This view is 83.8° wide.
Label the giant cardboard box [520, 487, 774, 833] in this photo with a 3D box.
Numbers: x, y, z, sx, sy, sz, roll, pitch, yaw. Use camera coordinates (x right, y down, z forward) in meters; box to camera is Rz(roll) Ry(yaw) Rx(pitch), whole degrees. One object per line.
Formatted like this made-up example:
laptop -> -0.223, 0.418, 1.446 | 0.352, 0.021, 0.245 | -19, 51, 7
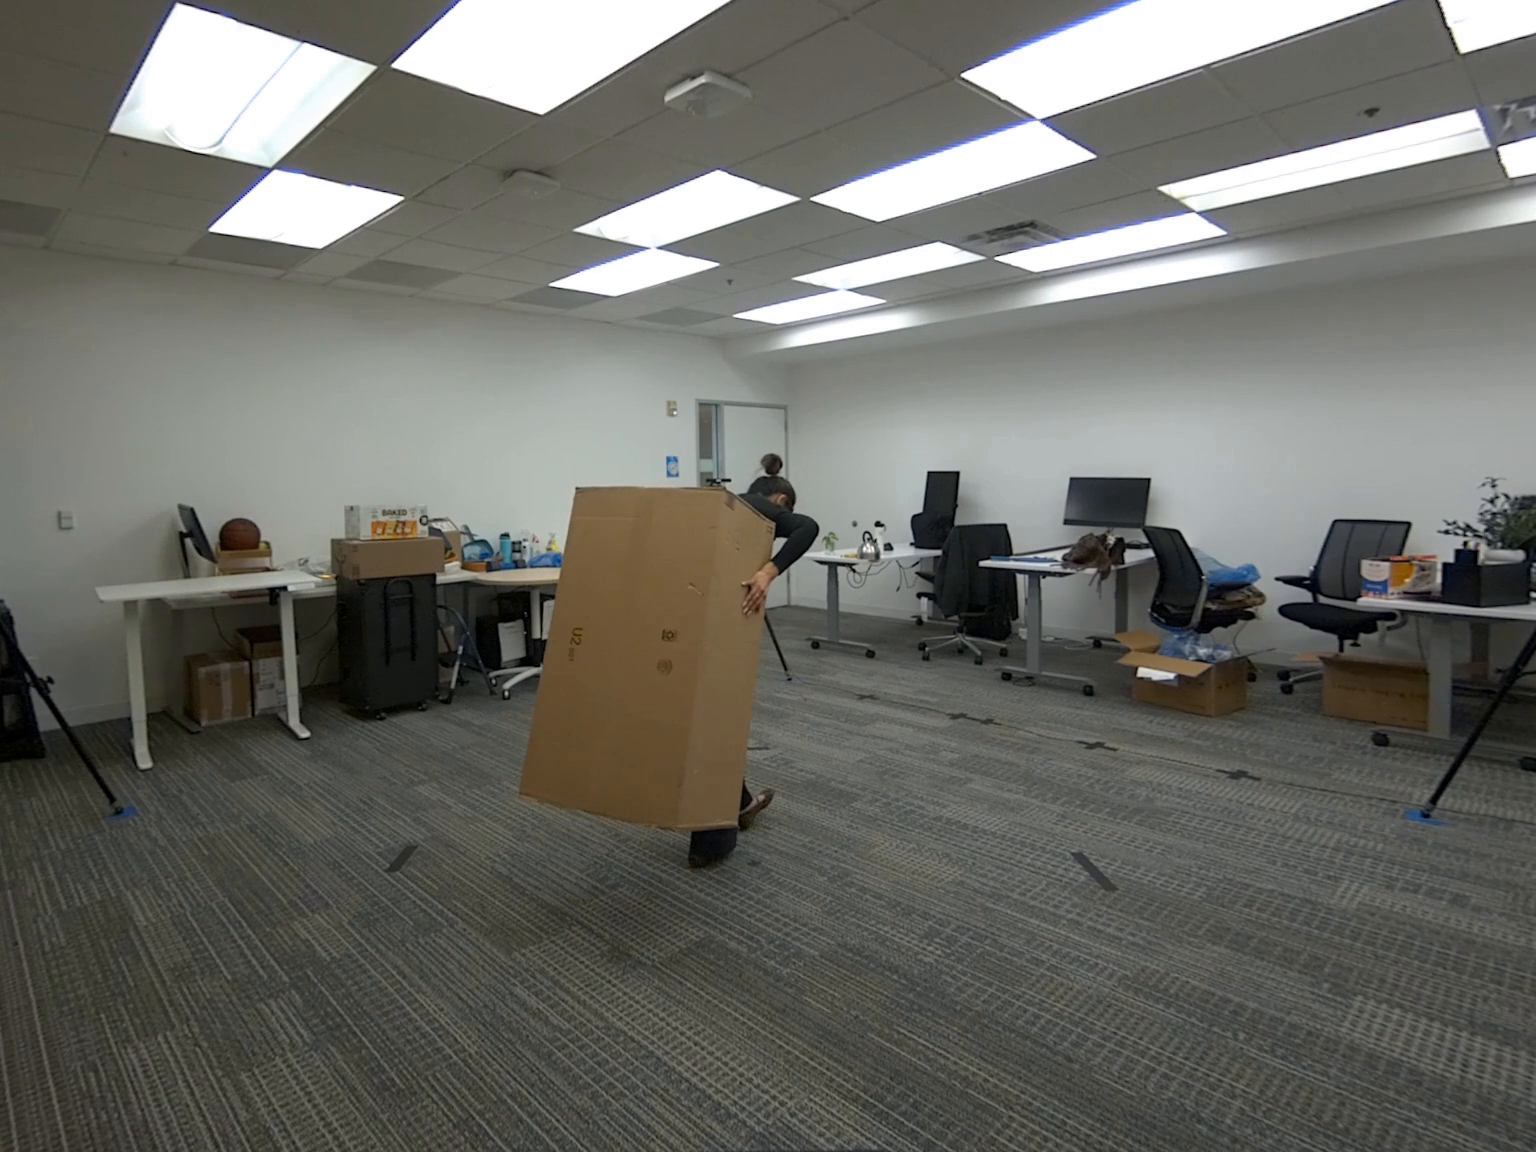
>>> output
giant cardboard box -> -0.377, 0.262, 2.828 | 0.591, 1.036, 0.412 | 1, -14, 26
